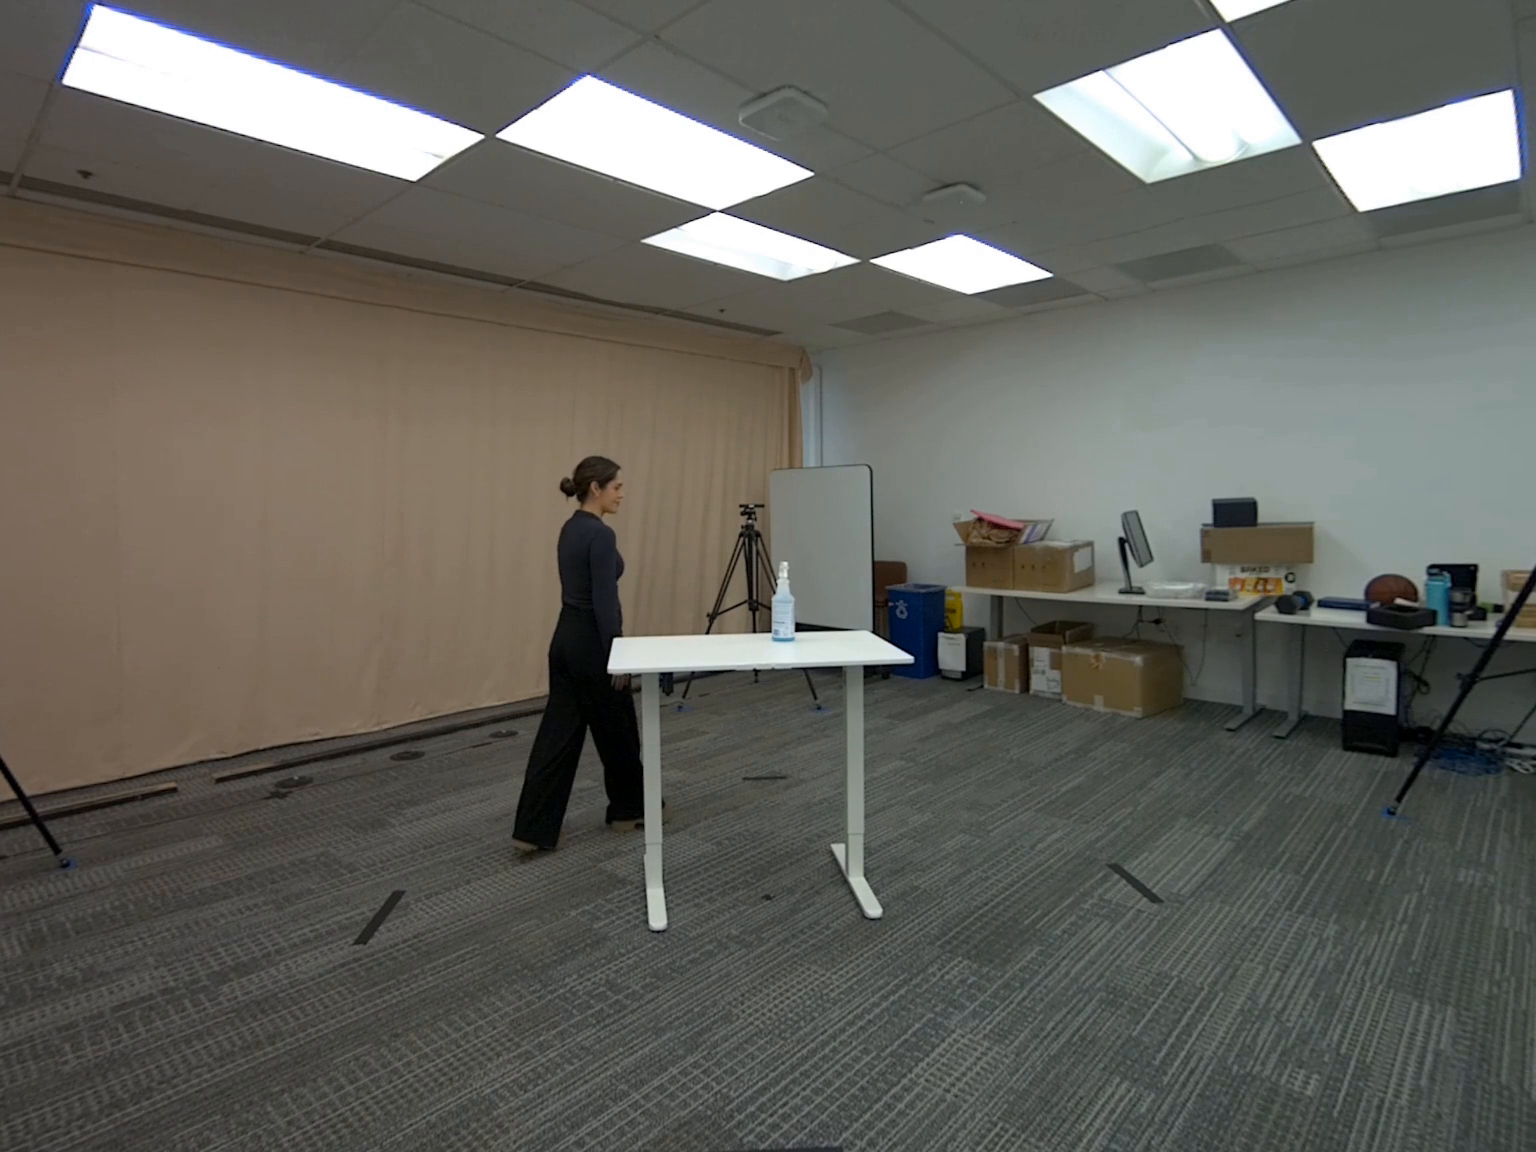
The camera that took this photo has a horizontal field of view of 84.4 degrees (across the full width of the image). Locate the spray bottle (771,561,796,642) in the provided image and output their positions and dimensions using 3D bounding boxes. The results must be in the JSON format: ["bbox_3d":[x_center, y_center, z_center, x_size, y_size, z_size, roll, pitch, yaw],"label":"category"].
[{"bbox_3d":[0.062,0.097,3.149,0.088,0.296,0.089,2,6,15],"label":"spray bottle"}]
